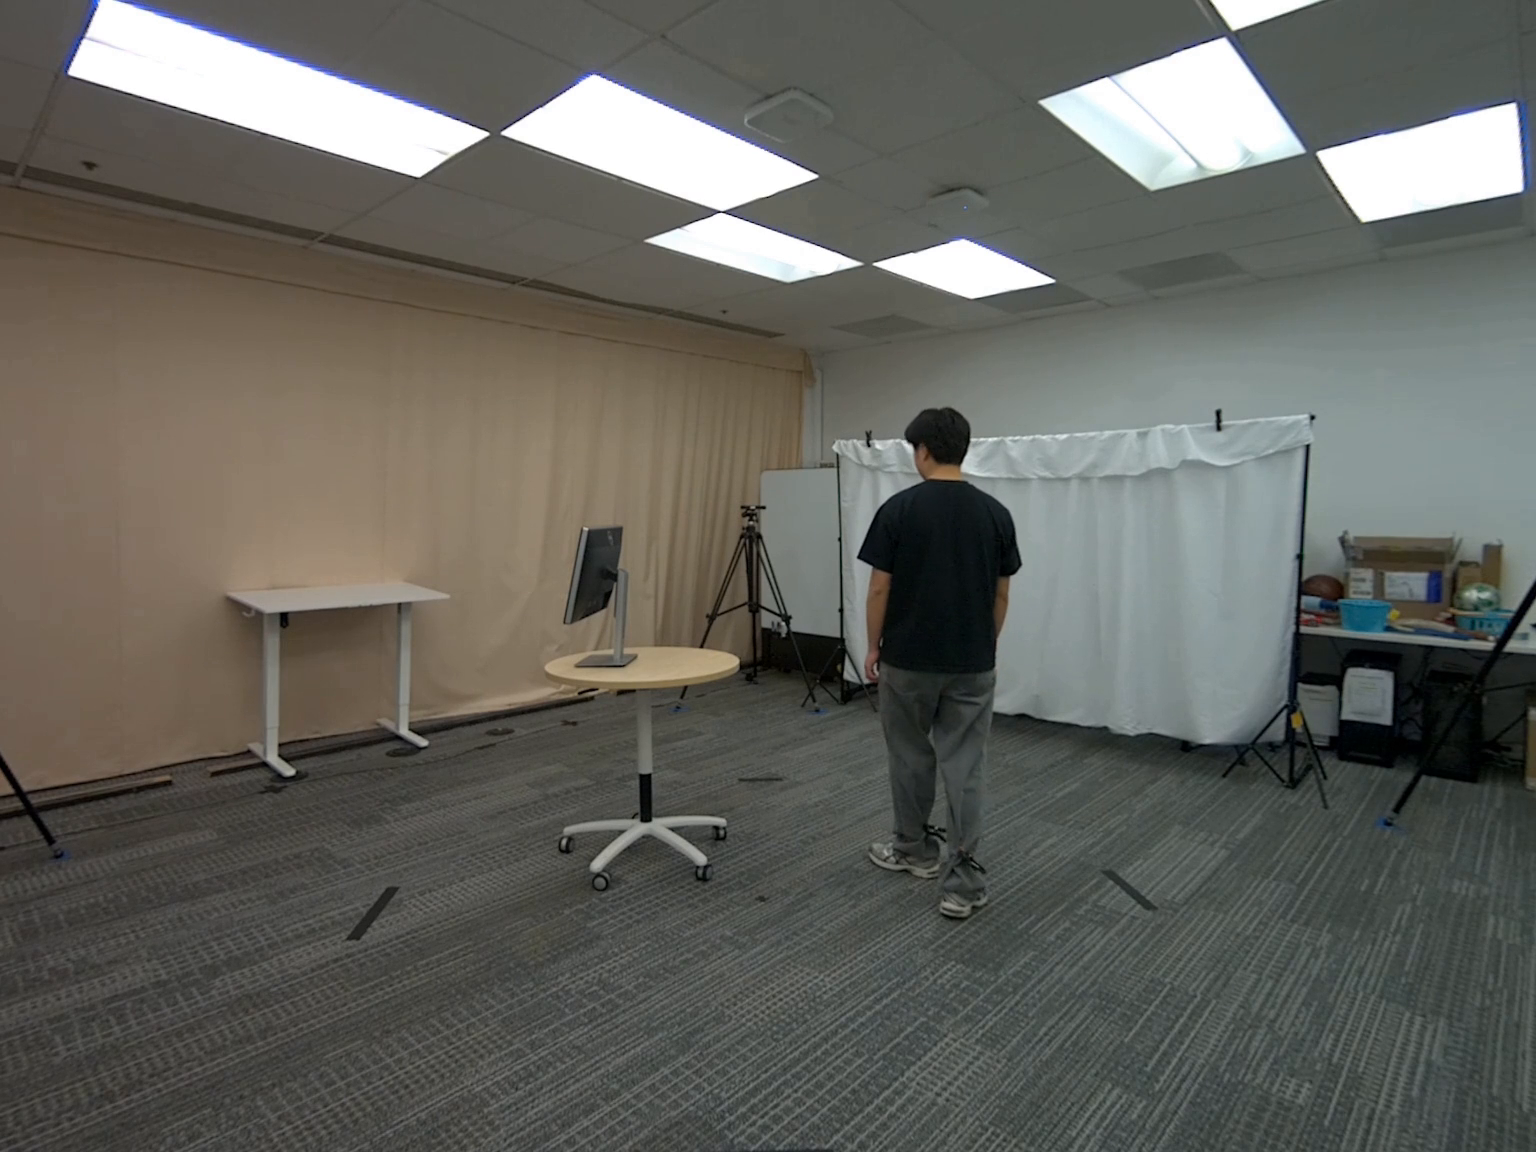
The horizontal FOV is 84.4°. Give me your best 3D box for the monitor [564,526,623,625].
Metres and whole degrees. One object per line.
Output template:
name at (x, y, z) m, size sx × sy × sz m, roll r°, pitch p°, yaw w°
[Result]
monitor at (-0.655, 0.083, 3.342) m, size 0.224 × 0.565 × 0.558 m, roll -3°, pitch 3°, yaw 6°
